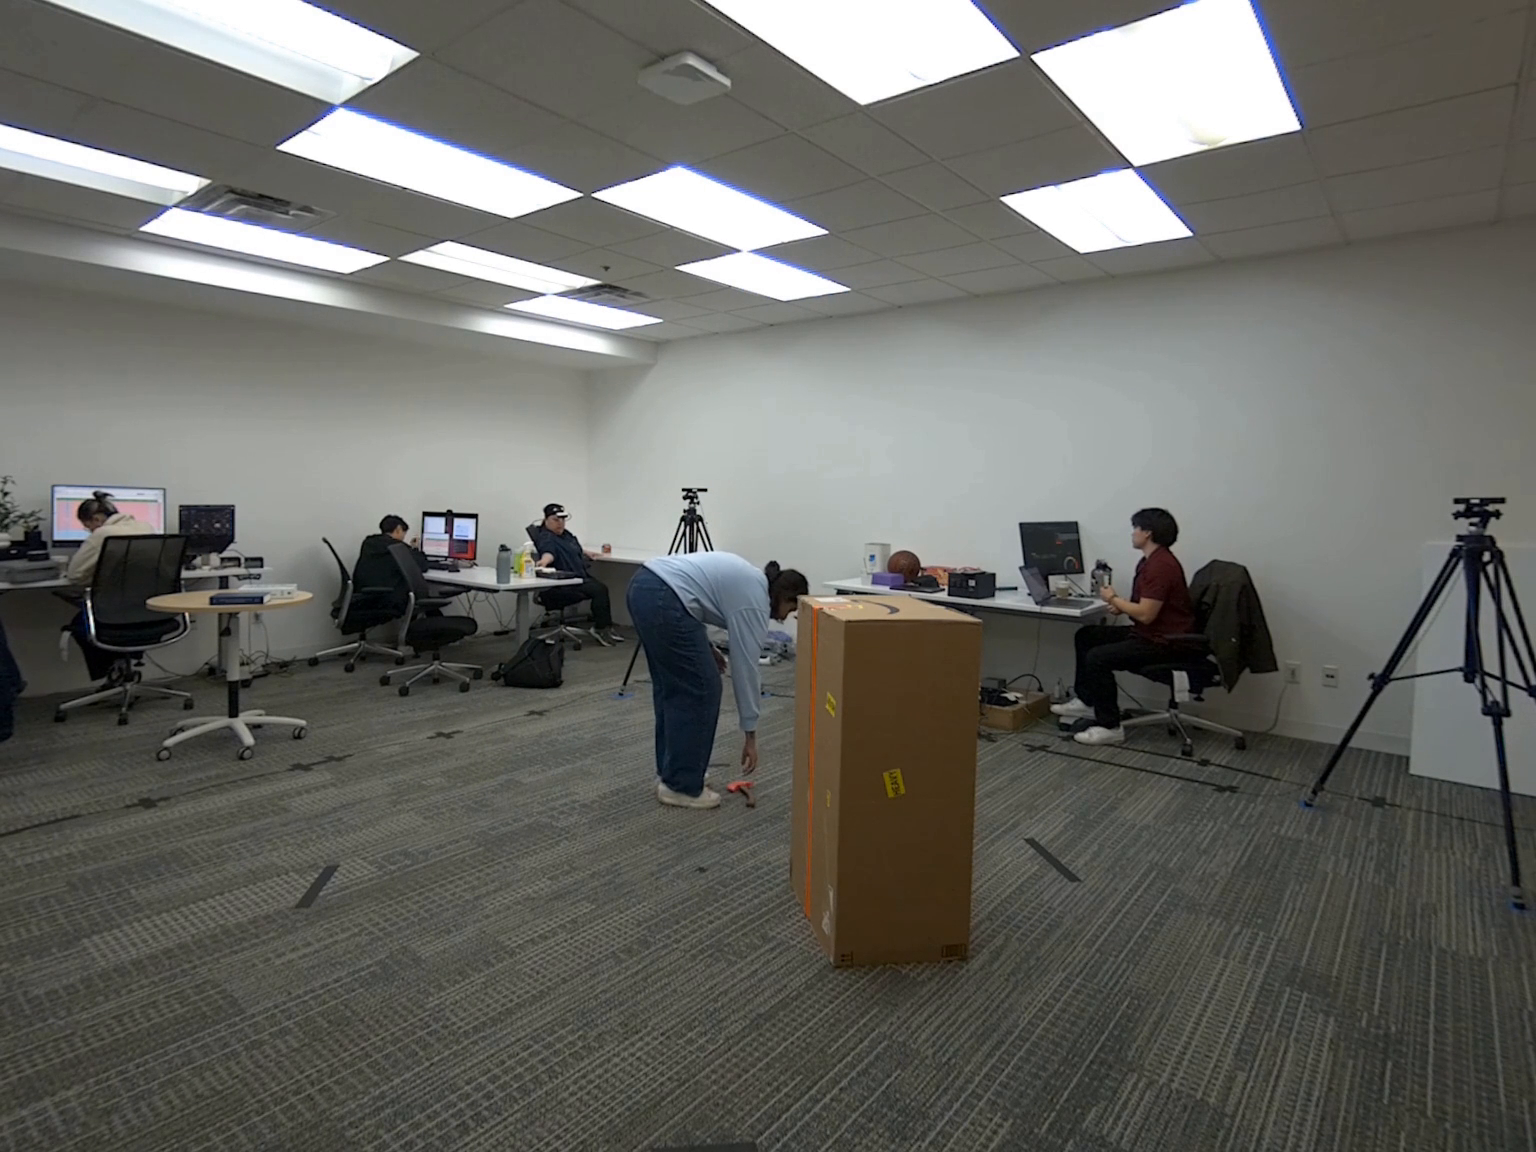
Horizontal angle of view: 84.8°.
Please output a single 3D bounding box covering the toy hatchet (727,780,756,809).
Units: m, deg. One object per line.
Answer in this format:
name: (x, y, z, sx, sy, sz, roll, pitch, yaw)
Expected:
toy hatchet: (-0.135, 0.987, 3.856, 0.131, 0.029, 0.271, 1, 6, -2)
